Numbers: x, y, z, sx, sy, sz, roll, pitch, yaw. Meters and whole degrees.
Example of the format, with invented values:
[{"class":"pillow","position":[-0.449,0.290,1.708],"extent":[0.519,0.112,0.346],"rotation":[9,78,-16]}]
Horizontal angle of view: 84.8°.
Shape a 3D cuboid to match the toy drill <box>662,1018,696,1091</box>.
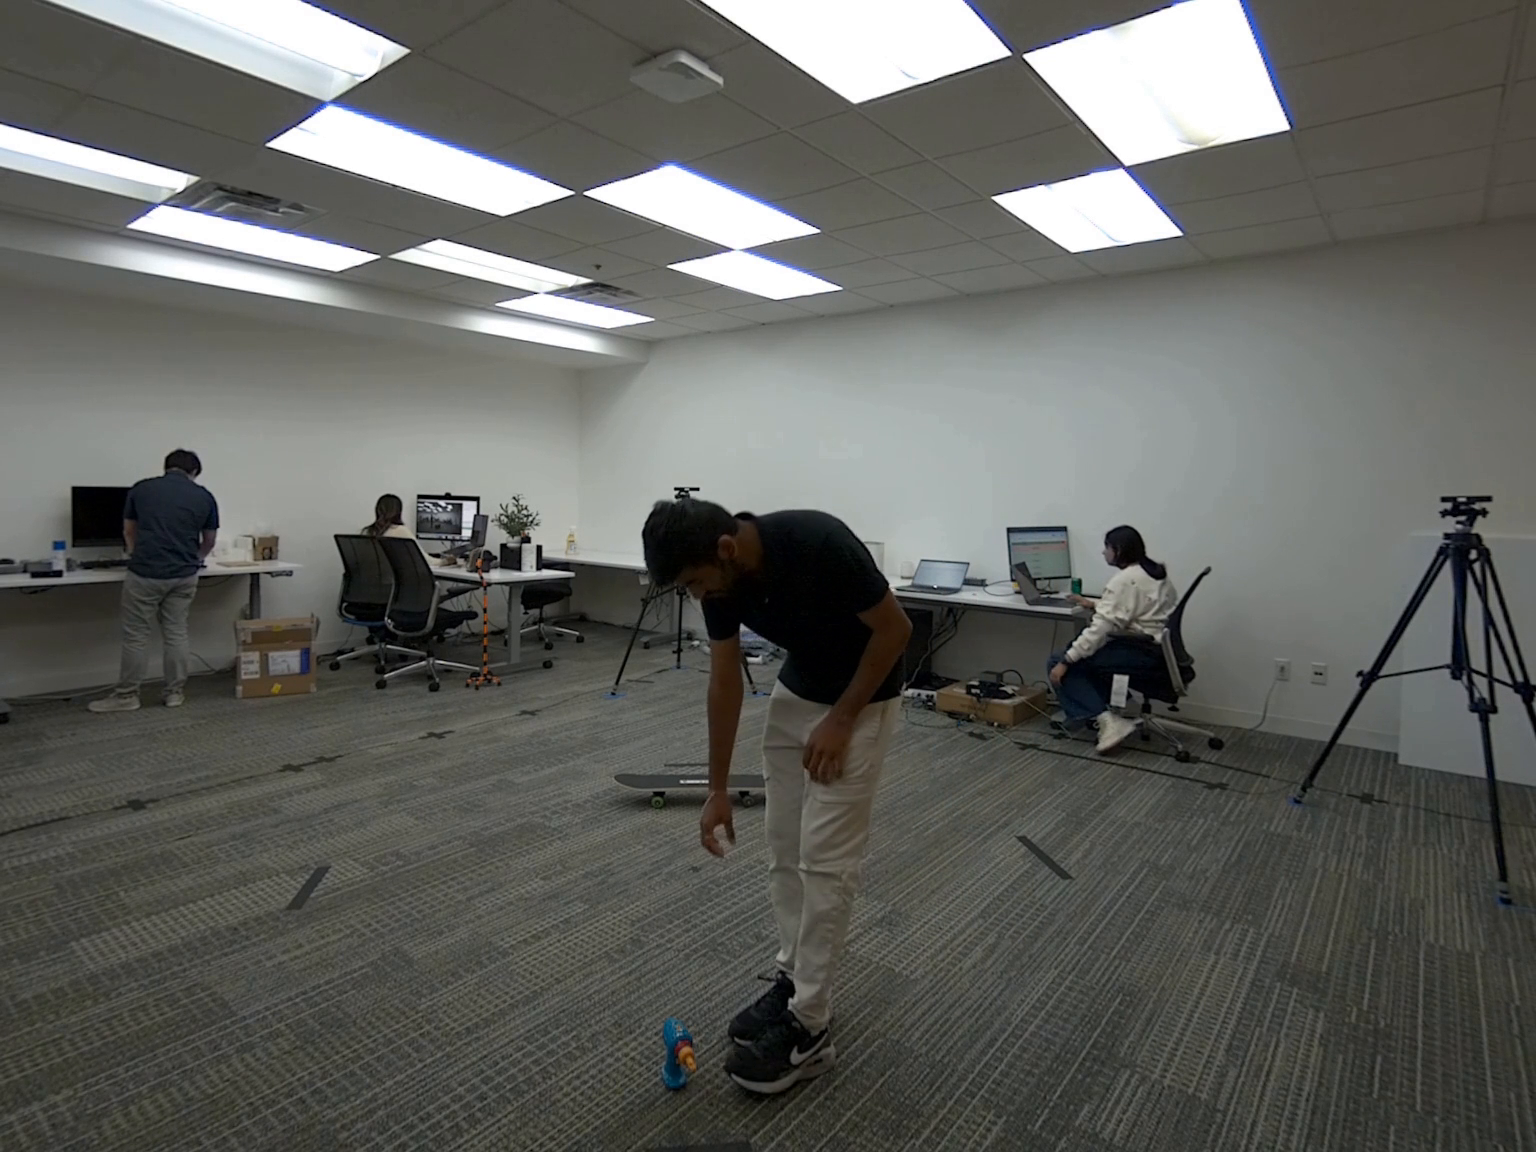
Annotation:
[{"class":"toy drill","position":[-0.208,1.115,1.950],"extent":[0.059,0.145,0.175],"rotation":[1,7,-28]}]
